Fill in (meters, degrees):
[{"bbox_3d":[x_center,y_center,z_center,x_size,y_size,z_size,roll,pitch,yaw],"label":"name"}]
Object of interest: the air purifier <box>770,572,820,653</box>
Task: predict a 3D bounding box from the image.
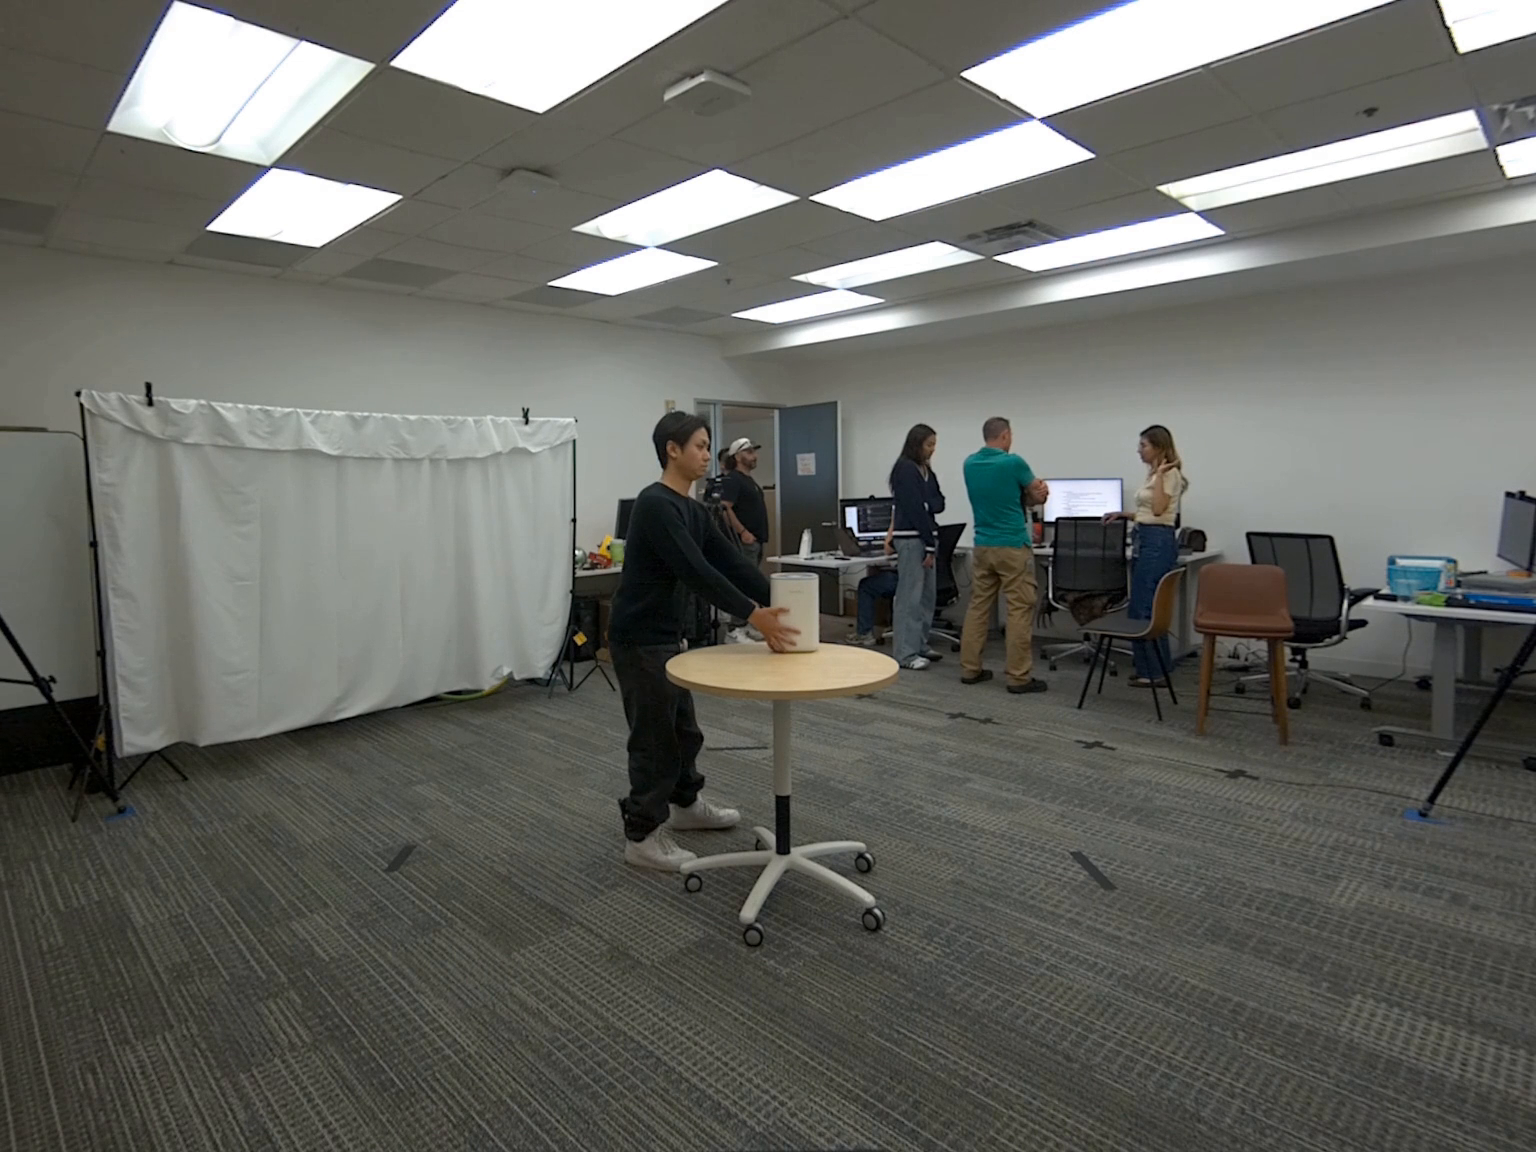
[{"bbox_3d":[0.090,0.128,3.056,0.172,0.264,0.171,-1,4,4],"label":"air purifier"}]
